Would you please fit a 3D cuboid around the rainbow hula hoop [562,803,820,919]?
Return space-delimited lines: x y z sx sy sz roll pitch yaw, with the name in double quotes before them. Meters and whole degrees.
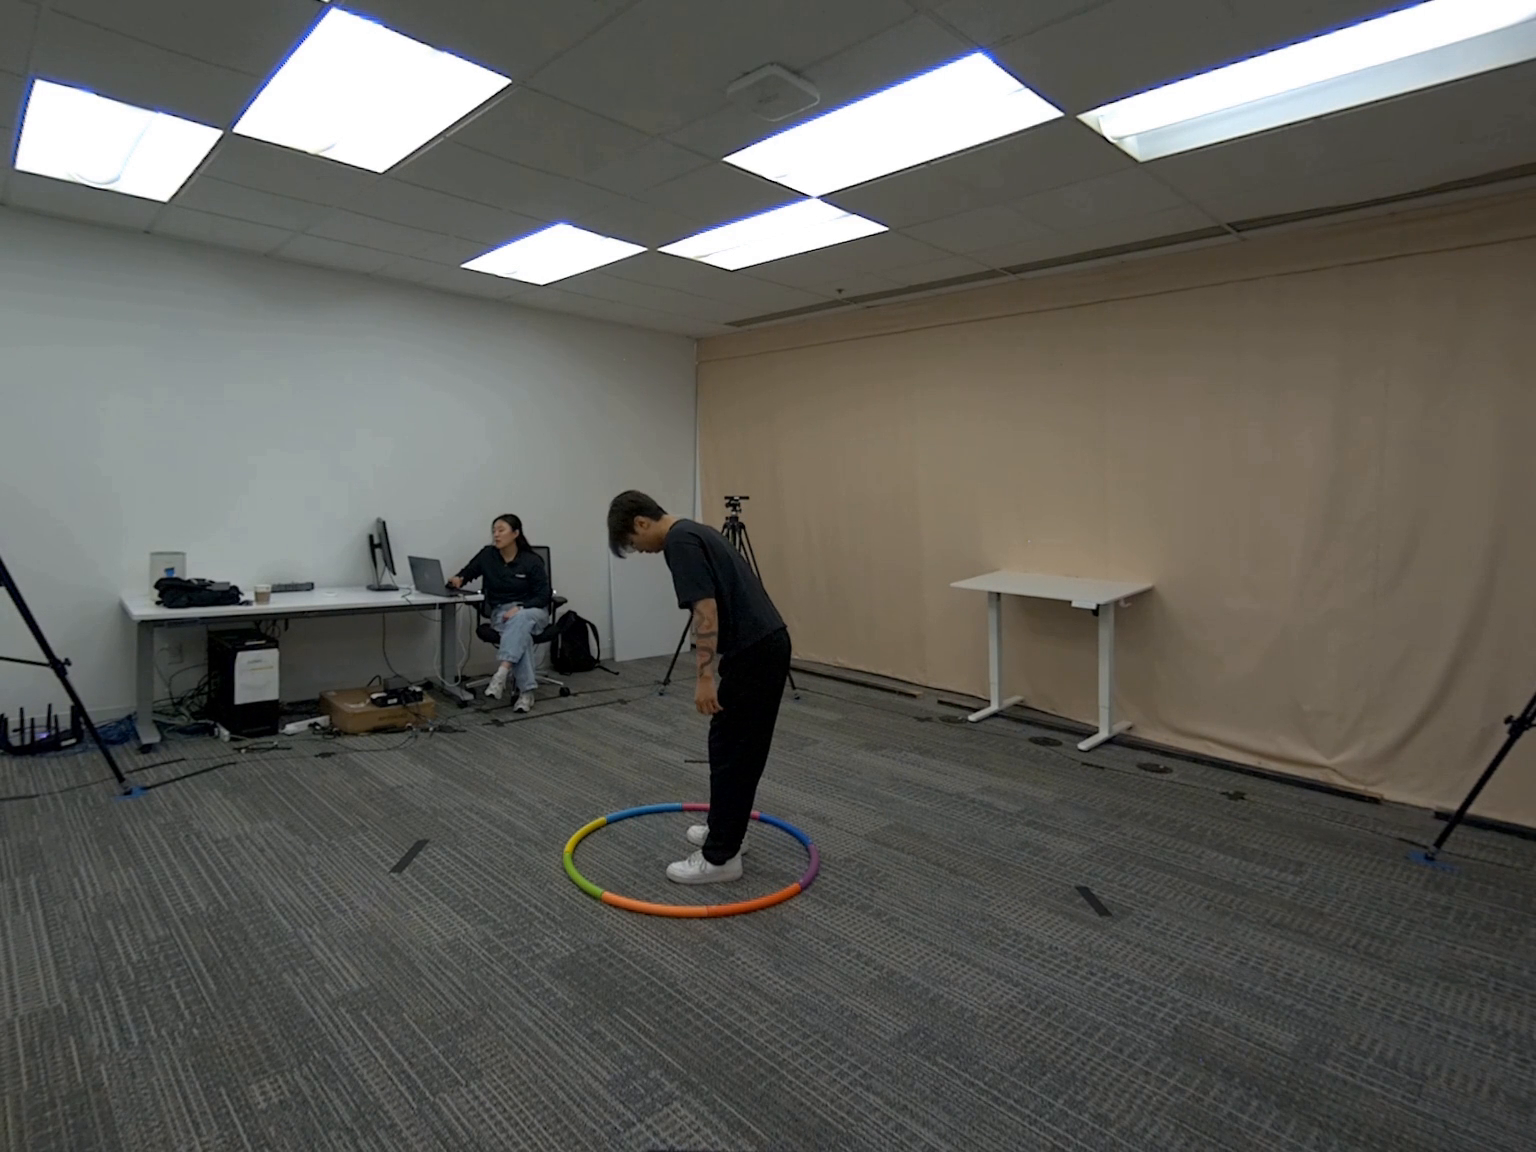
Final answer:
"rainbow hula hoop" -0.297 1.058 3.262 0.978 0.035 0.982 2 5 -1
